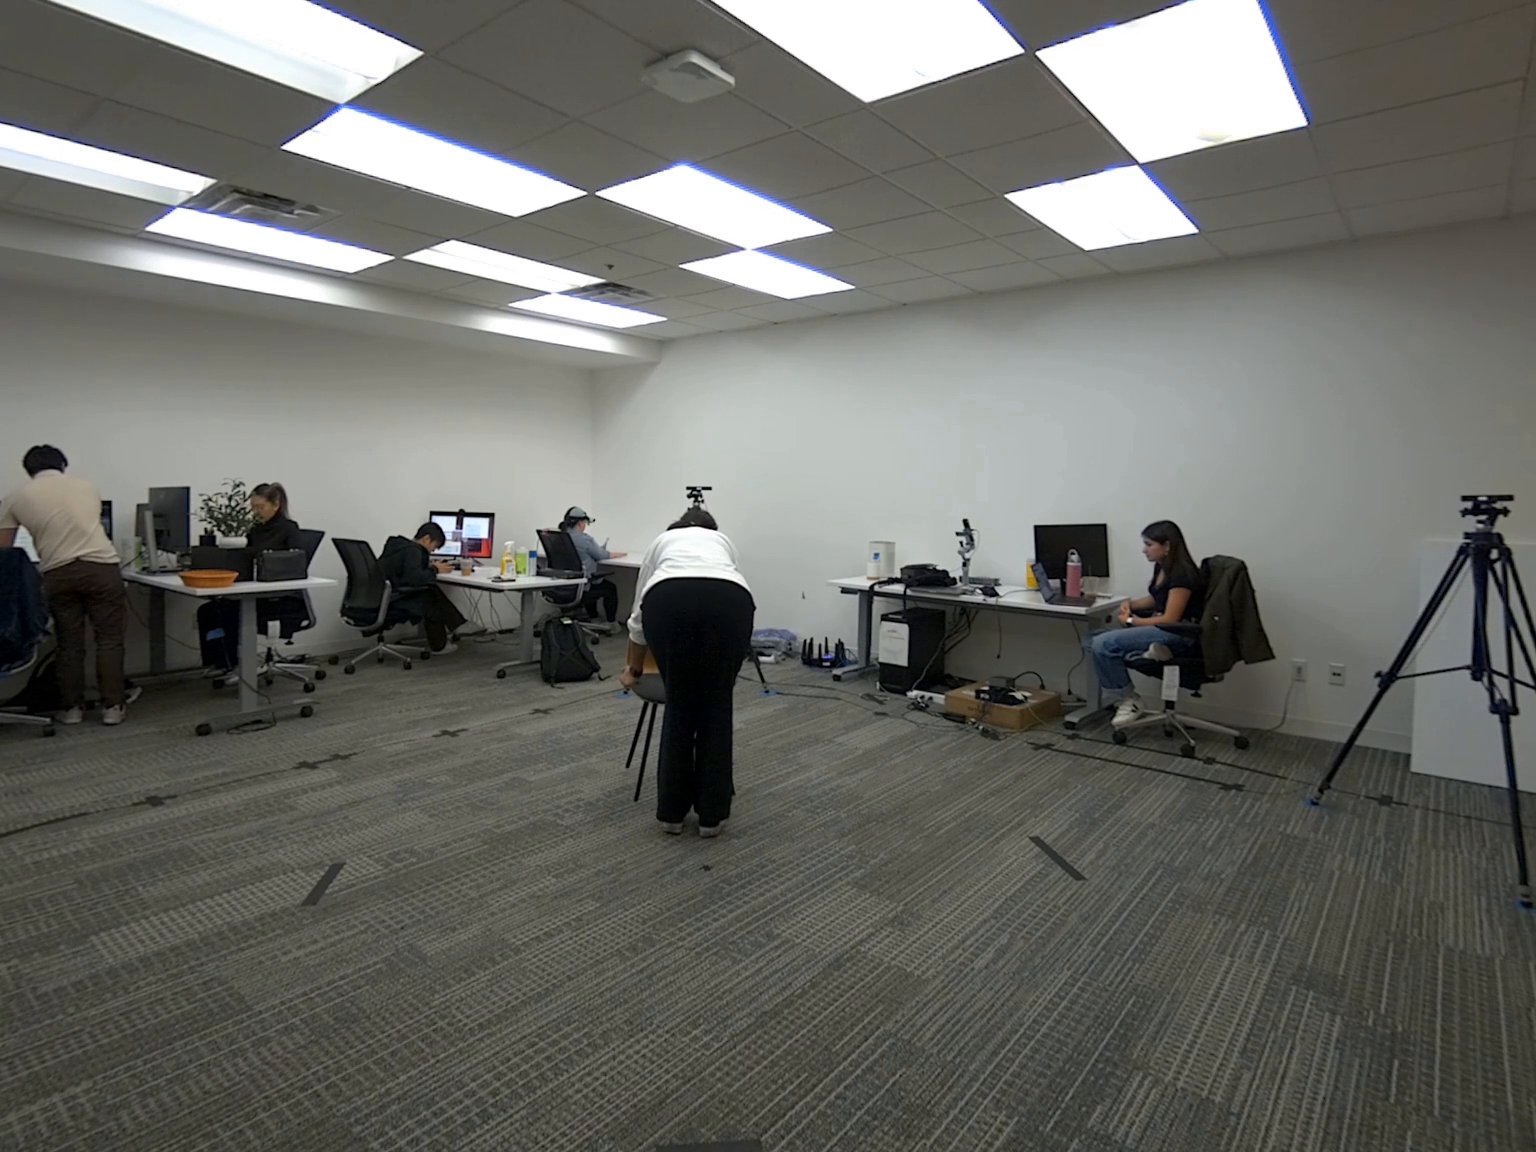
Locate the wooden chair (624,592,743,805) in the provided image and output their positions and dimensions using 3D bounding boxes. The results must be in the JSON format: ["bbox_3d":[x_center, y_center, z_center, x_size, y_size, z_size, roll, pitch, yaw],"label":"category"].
[{"bbox_3d":[-0.410,0.530,3.929,0.472,0.877,0.530,0,0,-12],"label":"wooden chair"}]
